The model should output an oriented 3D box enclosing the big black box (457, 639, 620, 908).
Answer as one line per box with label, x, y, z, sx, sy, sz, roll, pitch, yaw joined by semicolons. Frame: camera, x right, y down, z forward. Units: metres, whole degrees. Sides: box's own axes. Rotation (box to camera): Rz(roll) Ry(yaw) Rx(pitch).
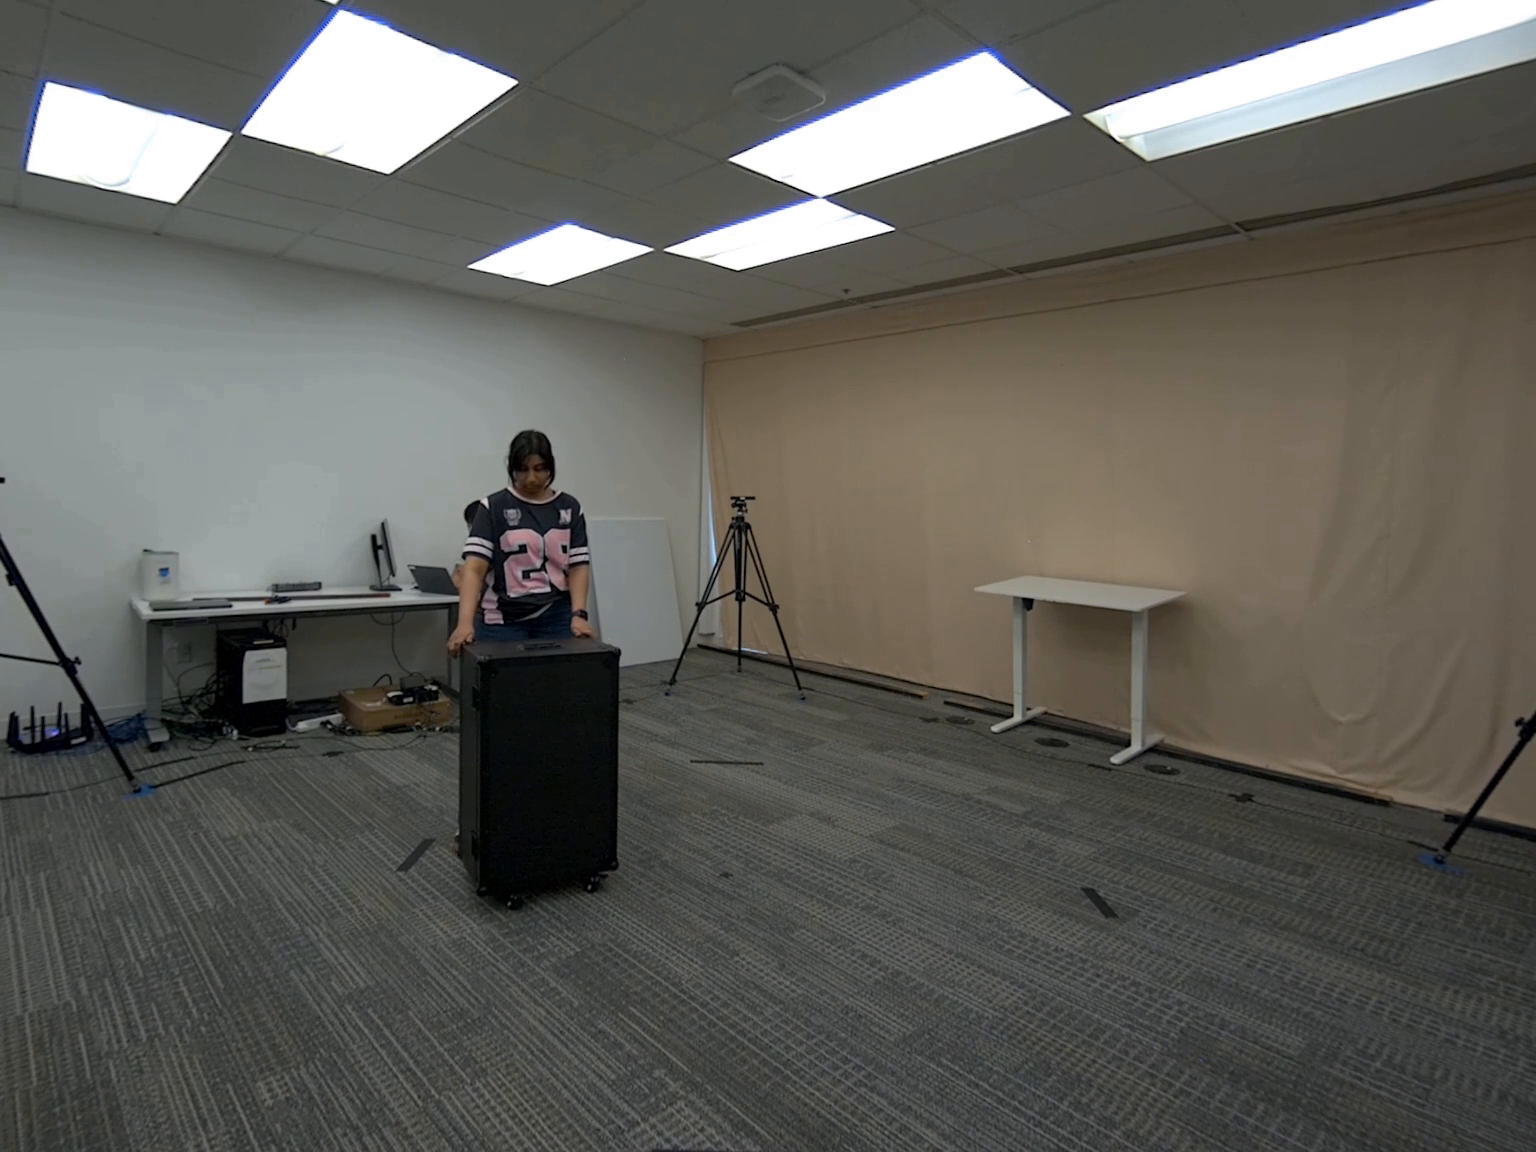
big black box;-0.832;0.679;2.990;0.513;0.867;0.394;0;3;-30
